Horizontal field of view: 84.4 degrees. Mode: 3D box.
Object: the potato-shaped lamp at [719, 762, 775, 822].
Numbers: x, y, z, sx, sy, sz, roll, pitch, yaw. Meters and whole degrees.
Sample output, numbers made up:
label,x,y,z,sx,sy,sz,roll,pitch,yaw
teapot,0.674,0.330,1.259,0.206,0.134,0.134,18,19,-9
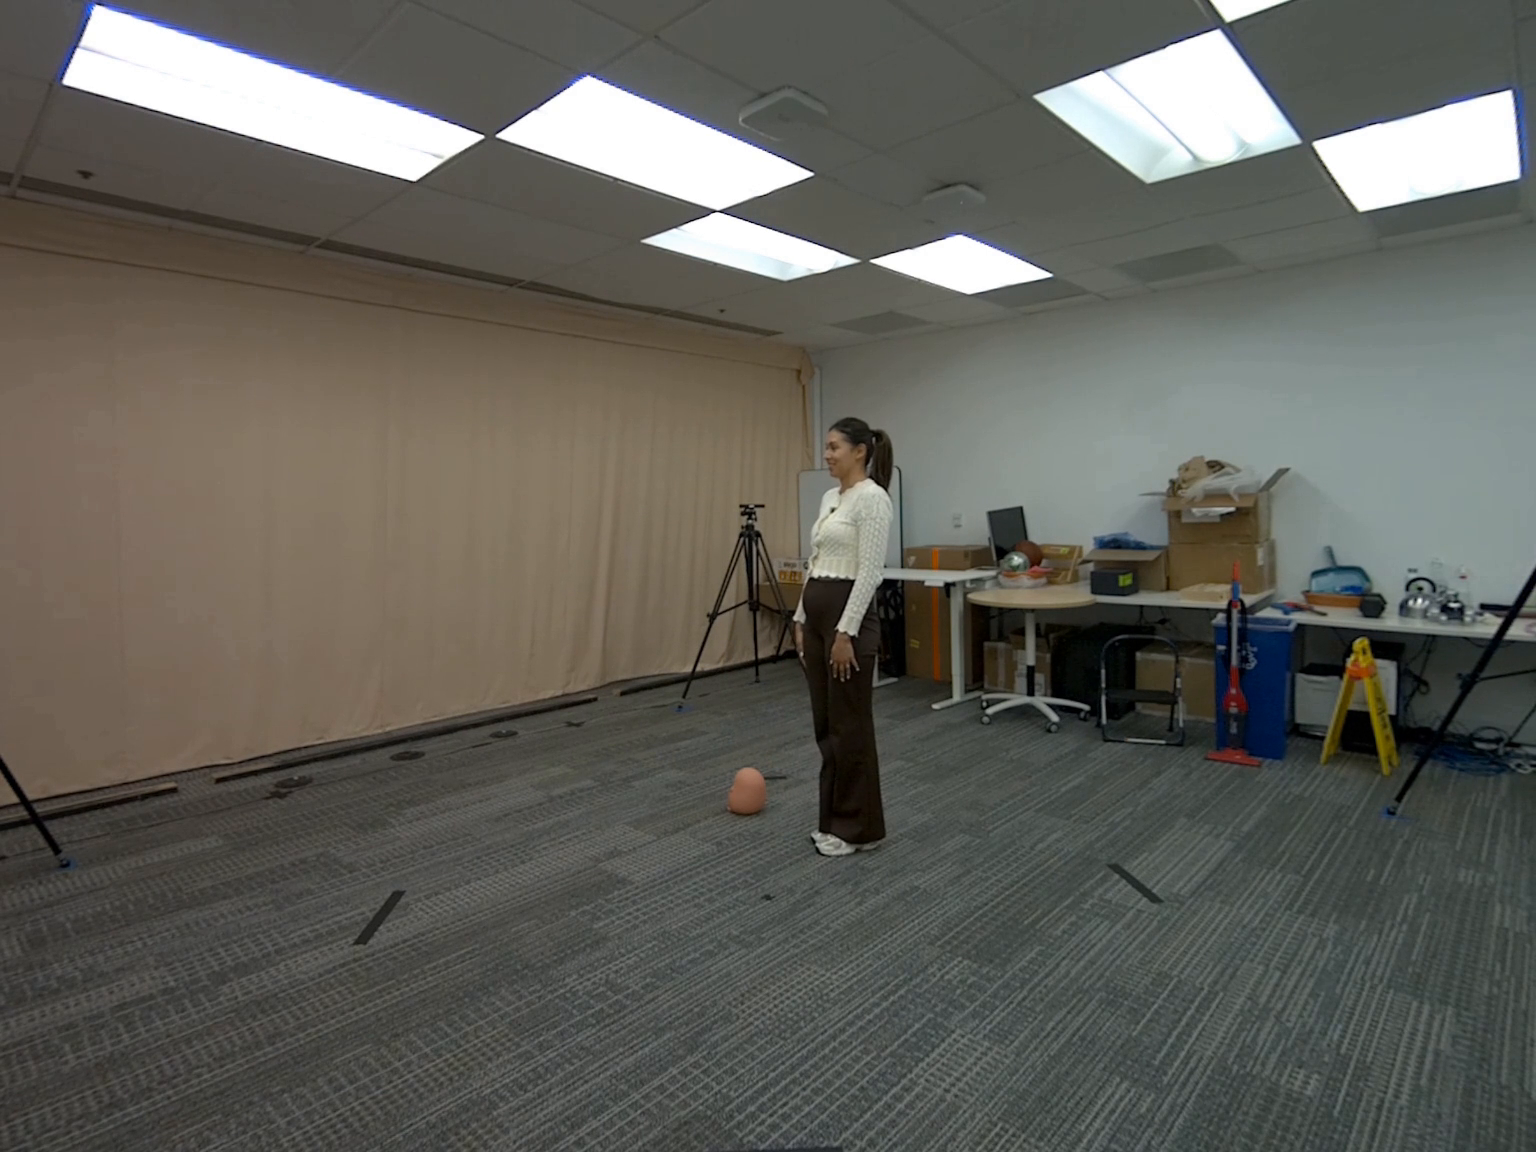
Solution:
label,x,y,z,sx,sy,sz,roll,pitch,yaw
potato-shaped lamp,-0.095,0.969,3.825,0.176,0.198,0.160,-2,4,36
